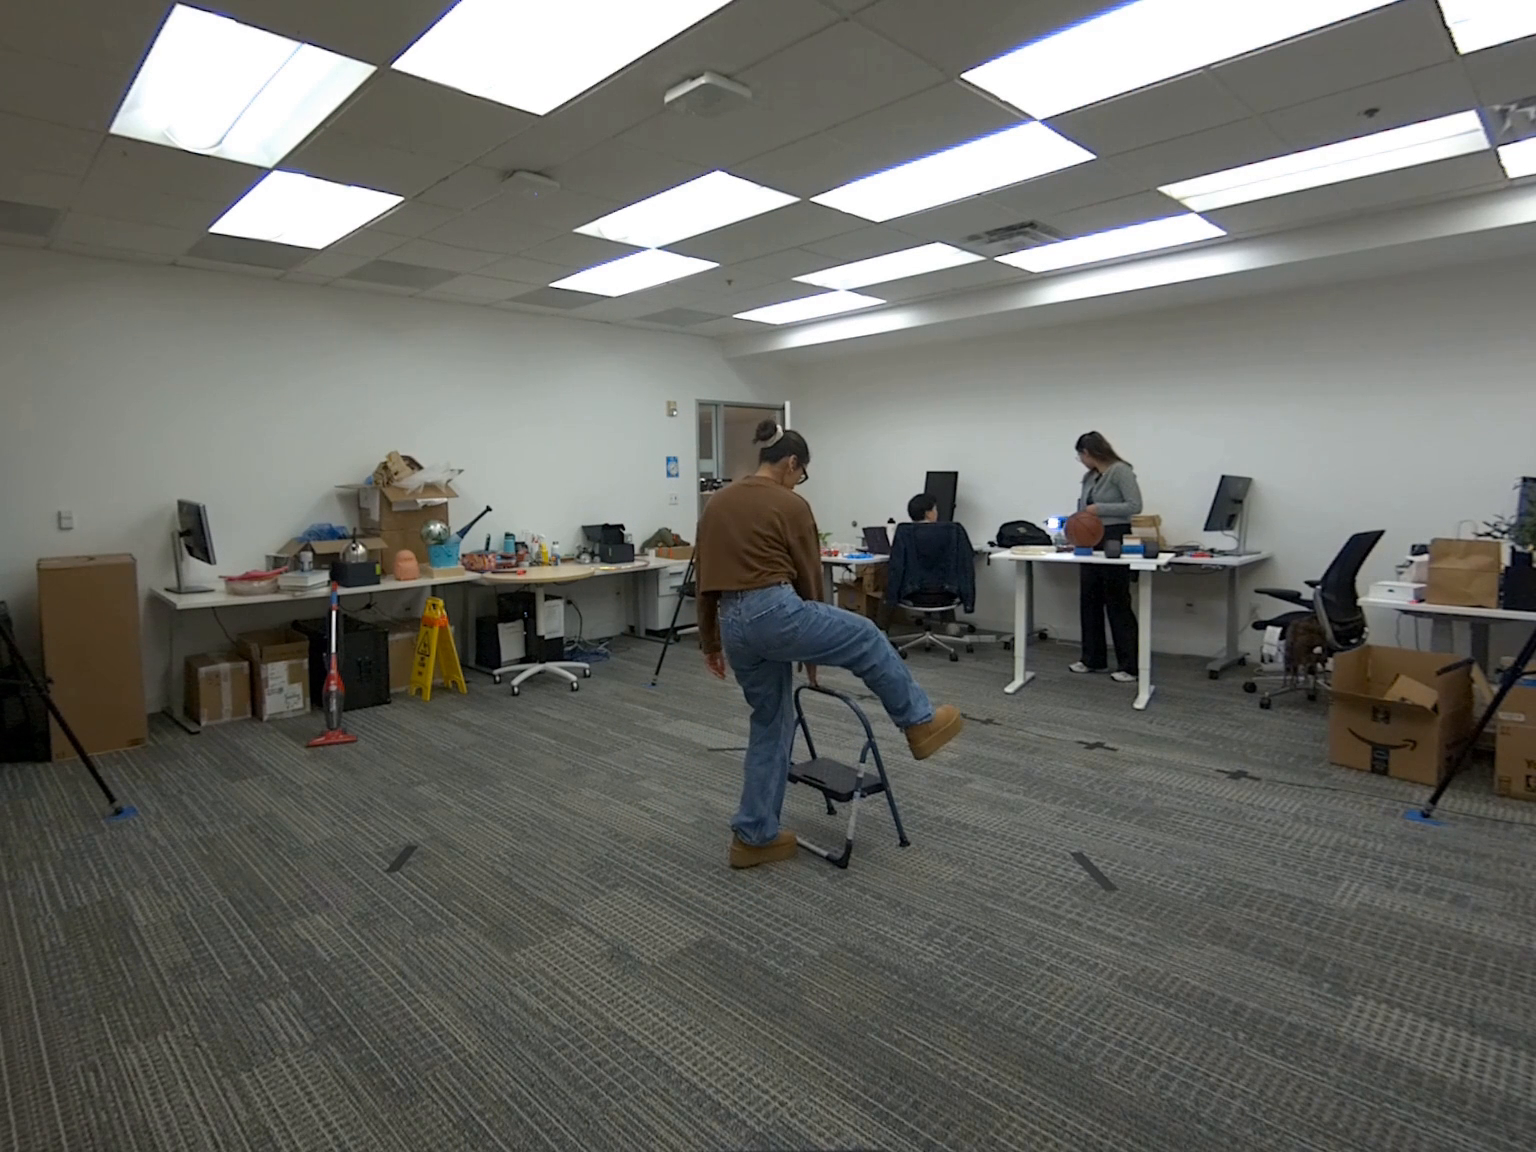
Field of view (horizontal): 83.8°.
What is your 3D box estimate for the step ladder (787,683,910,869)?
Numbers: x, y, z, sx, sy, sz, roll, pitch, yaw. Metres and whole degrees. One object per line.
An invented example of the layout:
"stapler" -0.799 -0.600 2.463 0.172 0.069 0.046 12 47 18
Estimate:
"step ladder" 0.268 0.713 3.292 0.340 0.604 0.444 -5 6 -39
